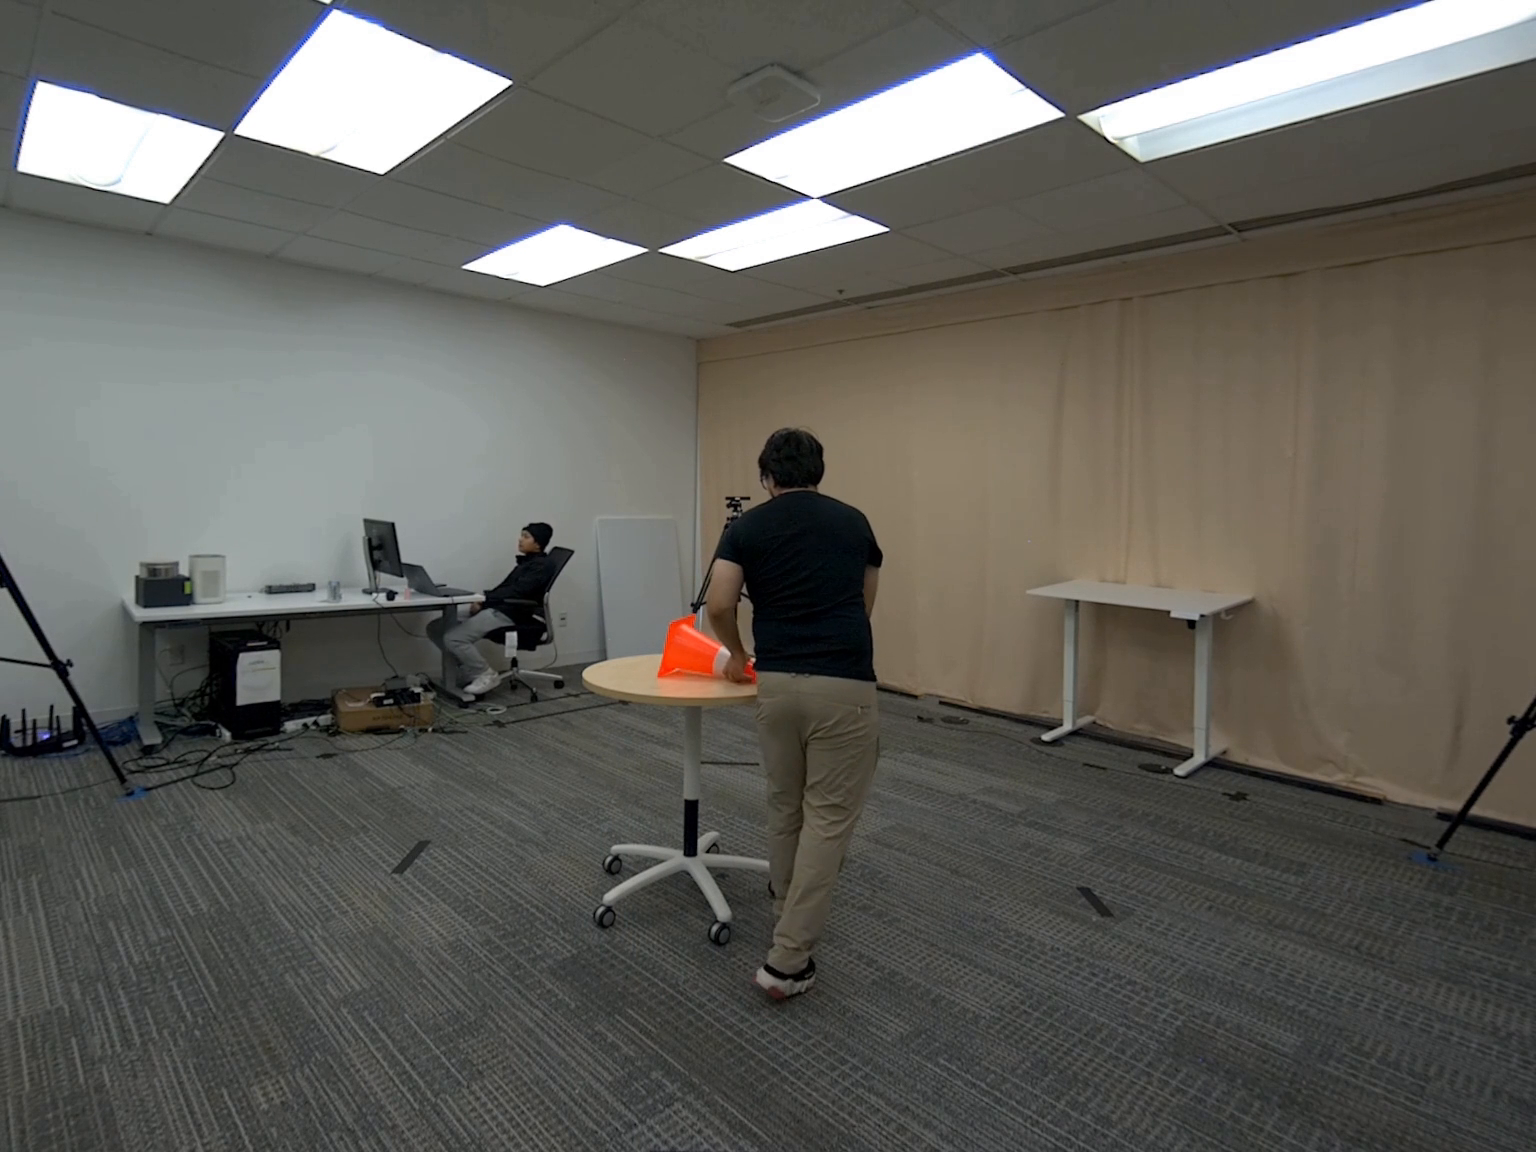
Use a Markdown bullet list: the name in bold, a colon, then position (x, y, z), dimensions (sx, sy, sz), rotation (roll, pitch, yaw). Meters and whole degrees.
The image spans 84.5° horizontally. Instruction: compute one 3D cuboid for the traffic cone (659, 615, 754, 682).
- **traffic cone**: position (-0.149, 0.293, 2.823), dimensions (0.391, 0.202, 0.202), rotation (17, 11, 19)
